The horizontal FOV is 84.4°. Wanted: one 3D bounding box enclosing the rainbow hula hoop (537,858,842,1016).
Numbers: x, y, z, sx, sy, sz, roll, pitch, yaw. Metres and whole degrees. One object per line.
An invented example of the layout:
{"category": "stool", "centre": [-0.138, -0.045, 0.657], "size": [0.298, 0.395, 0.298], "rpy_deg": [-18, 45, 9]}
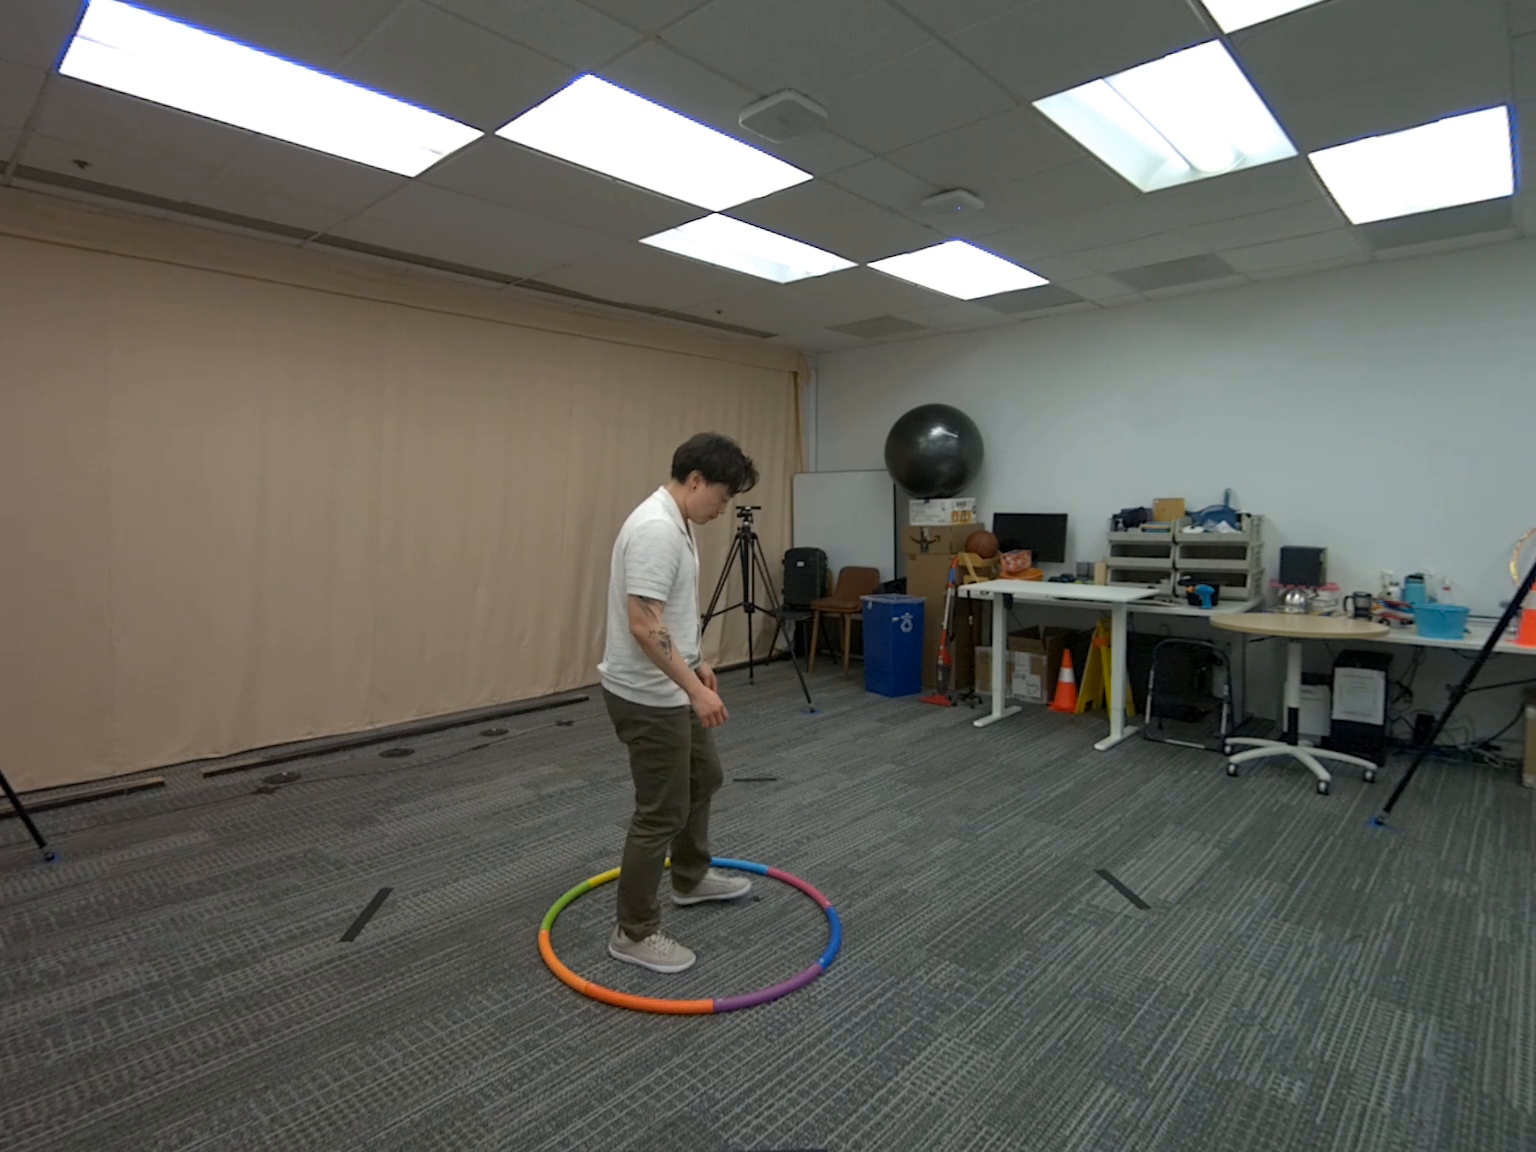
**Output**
{"category": "rainbow hula hoop", "centre": [-0.252, 1.134, 2.783], "size": [0.978, 0.035, 0.982], "rpy_deg": [-1, 5, -2]}
